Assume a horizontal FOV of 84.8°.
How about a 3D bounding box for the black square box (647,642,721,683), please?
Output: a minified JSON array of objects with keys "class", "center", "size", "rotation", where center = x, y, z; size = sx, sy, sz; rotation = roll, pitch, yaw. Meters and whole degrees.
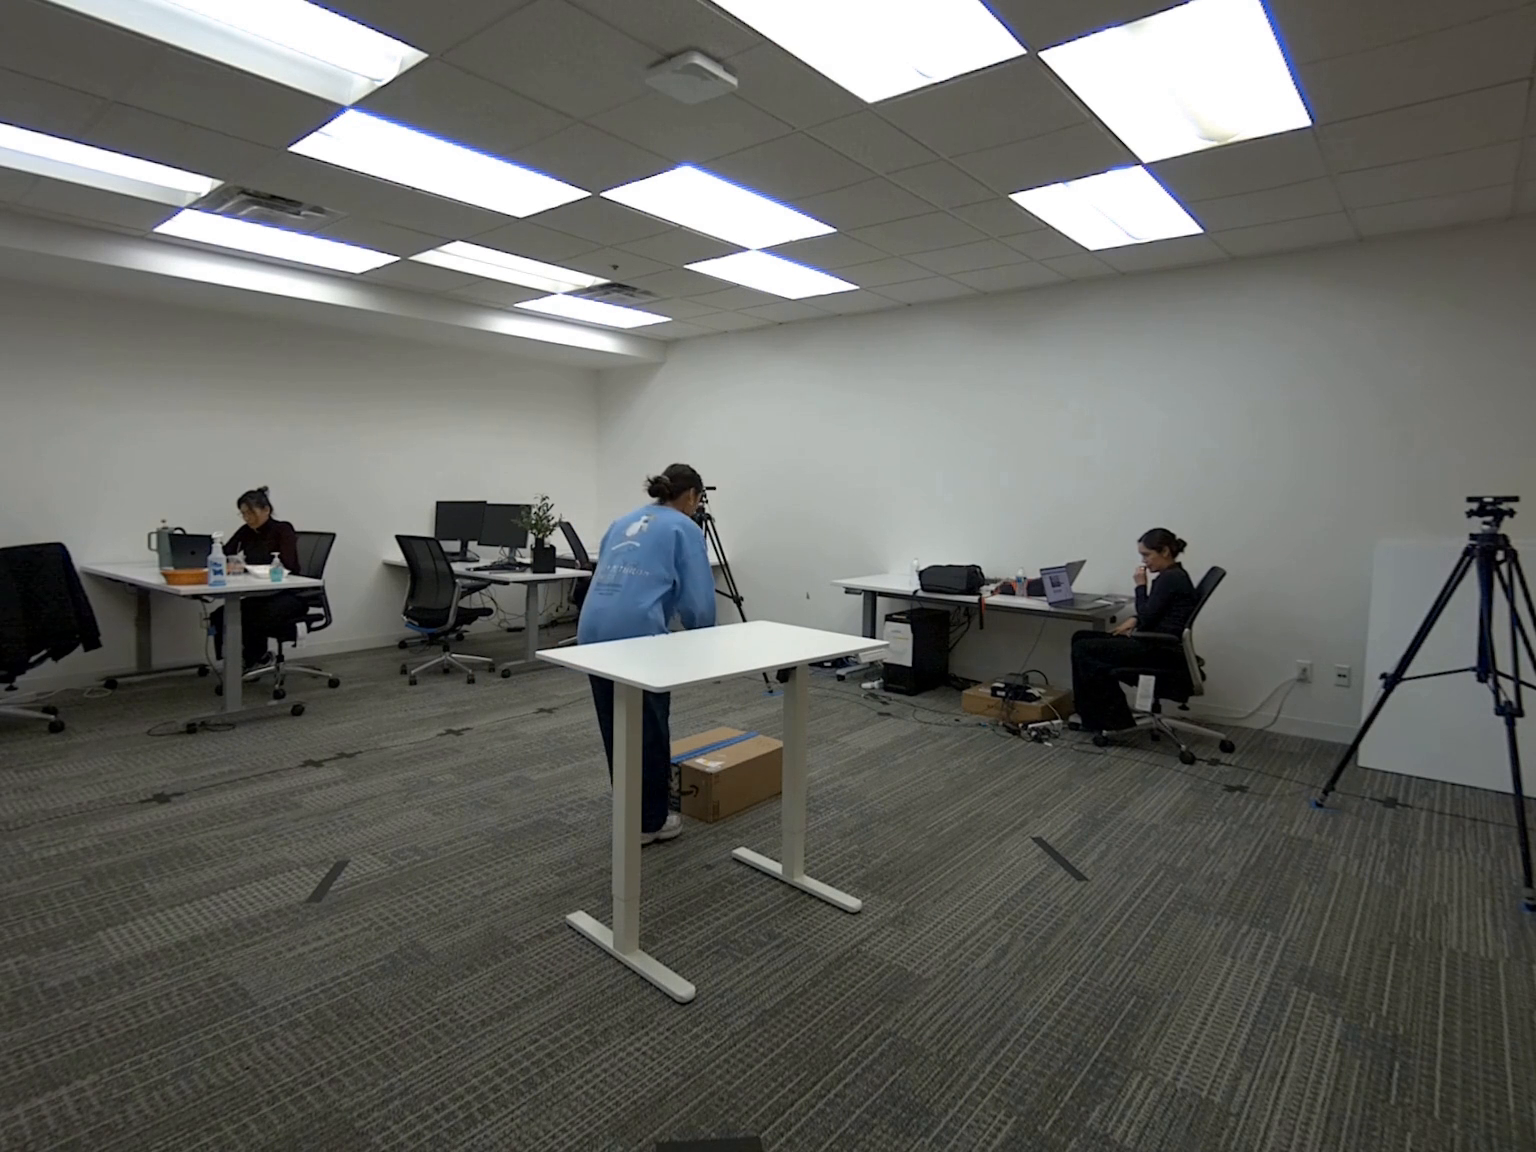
[{"class":"black square box","center":[-0.360,0.365,3.596],"size":[0.223,0.157,0.220],"rotation":[-2,-6,34]}]
